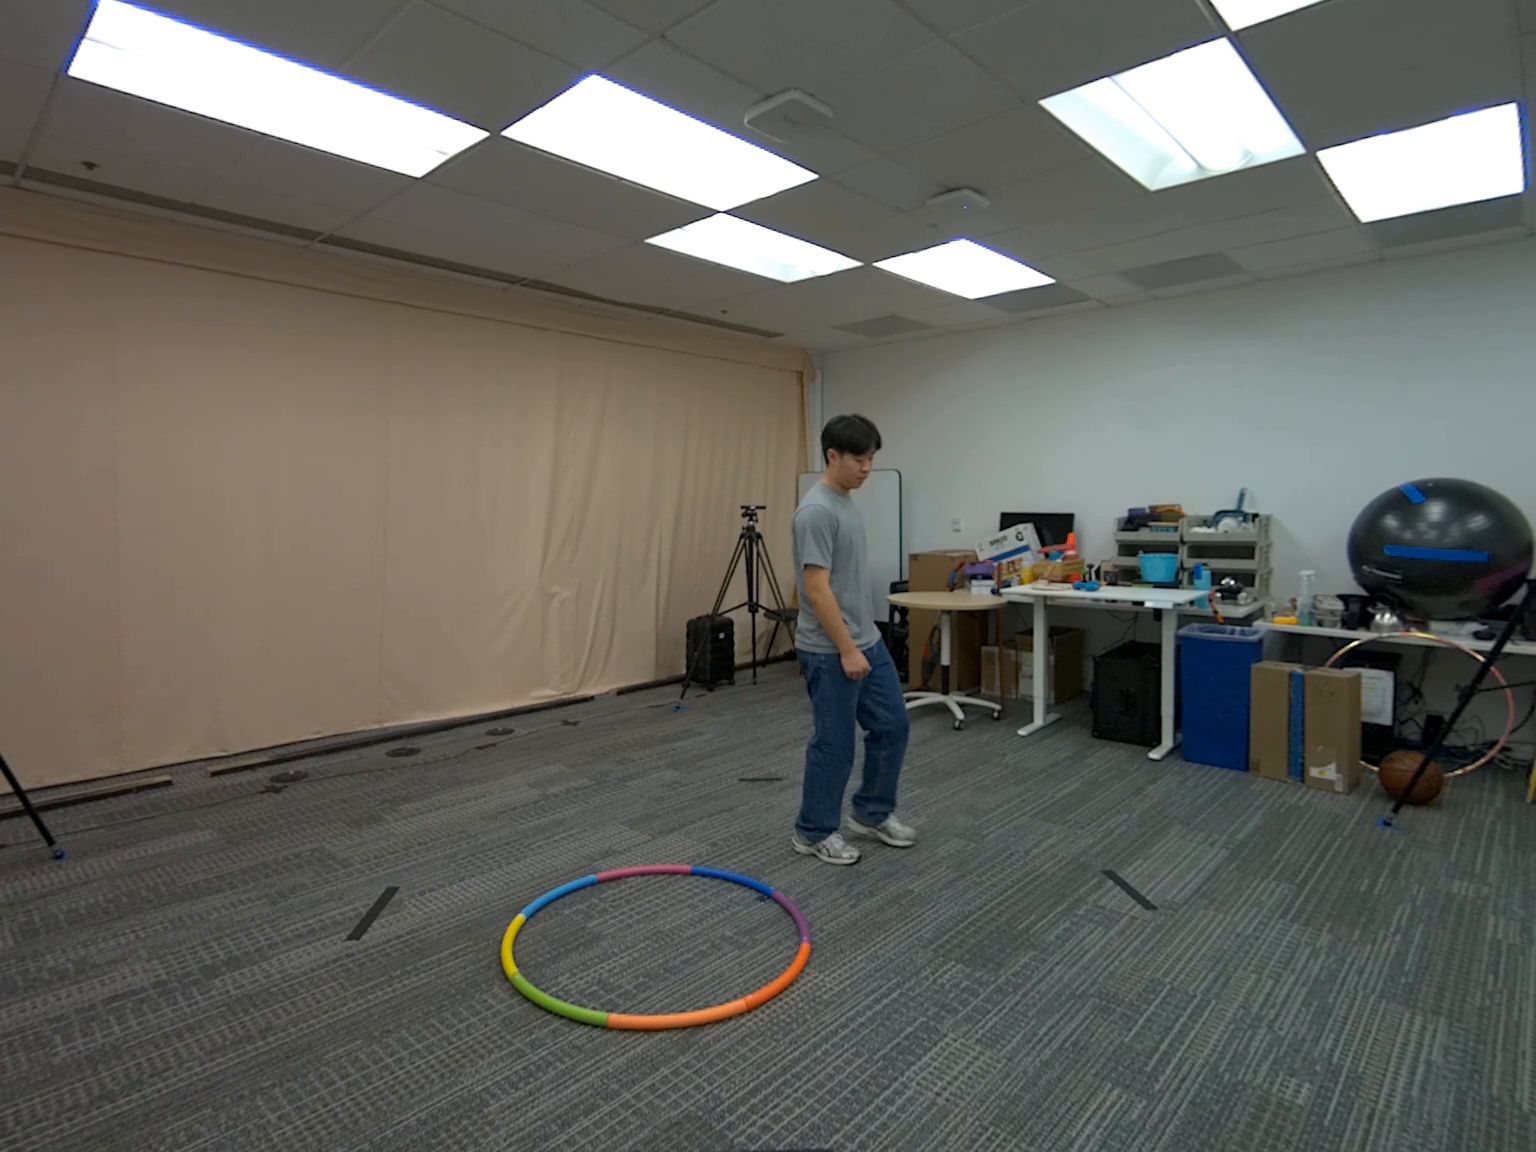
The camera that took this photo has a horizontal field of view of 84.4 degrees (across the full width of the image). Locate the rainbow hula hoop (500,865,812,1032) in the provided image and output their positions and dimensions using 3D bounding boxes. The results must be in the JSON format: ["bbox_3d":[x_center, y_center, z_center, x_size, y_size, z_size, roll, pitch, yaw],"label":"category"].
[{"bbox_3d":[-0.353,1.141,2.722,0.978,0.035,0.982,-1,5,-2],"label":"rainbow hula hoop"}]
